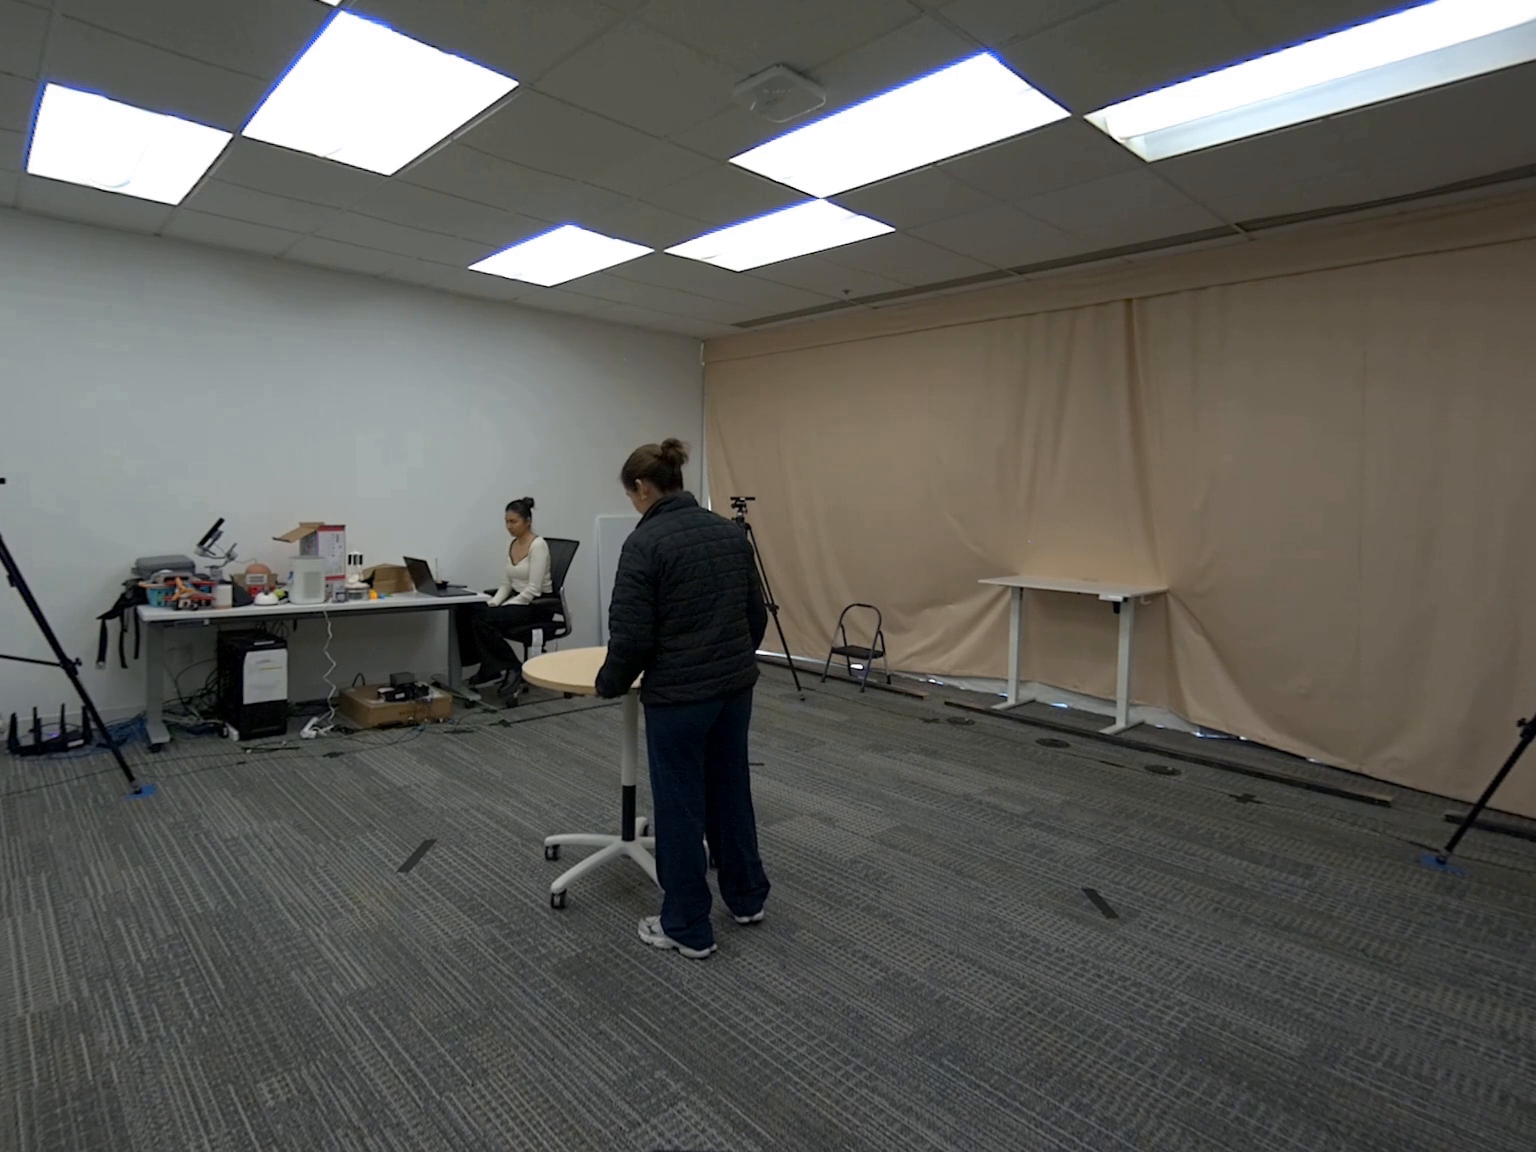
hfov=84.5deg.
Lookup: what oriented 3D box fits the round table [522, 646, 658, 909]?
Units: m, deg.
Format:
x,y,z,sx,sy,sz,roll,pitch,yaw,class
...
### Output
x,y,z,sx,sy,sz,roll,pitch,yaw,class
-0.504,0.712,3.036,0.784,0.784,0.788,1,4,-1,round table
